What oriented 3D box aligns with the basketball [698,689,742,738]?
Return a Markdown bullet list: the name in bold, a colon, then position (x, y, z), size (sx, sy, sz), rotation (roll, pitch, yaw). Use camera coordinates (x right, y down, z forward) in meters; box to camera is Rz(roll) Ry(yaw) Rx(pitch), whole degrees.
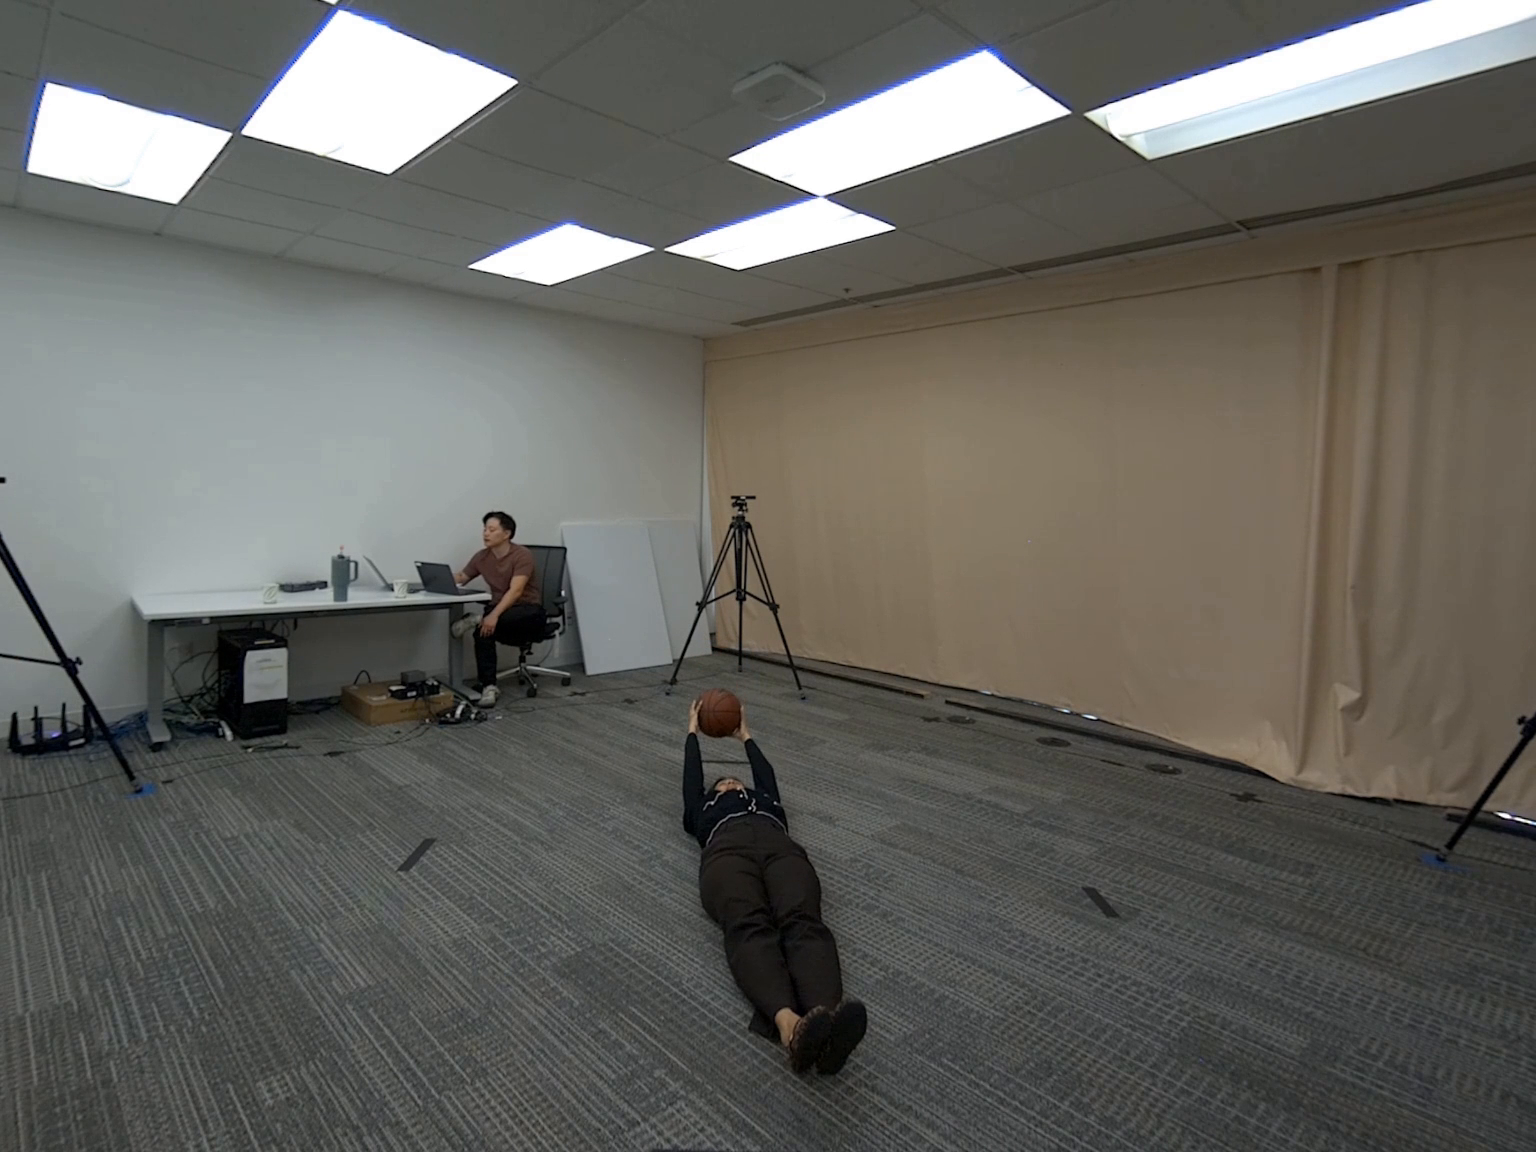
- **basketball**: position (-0.258, 0.658, 4.061), size (0.236, 0.235, 0.237), rotation (1, 4, -1)
